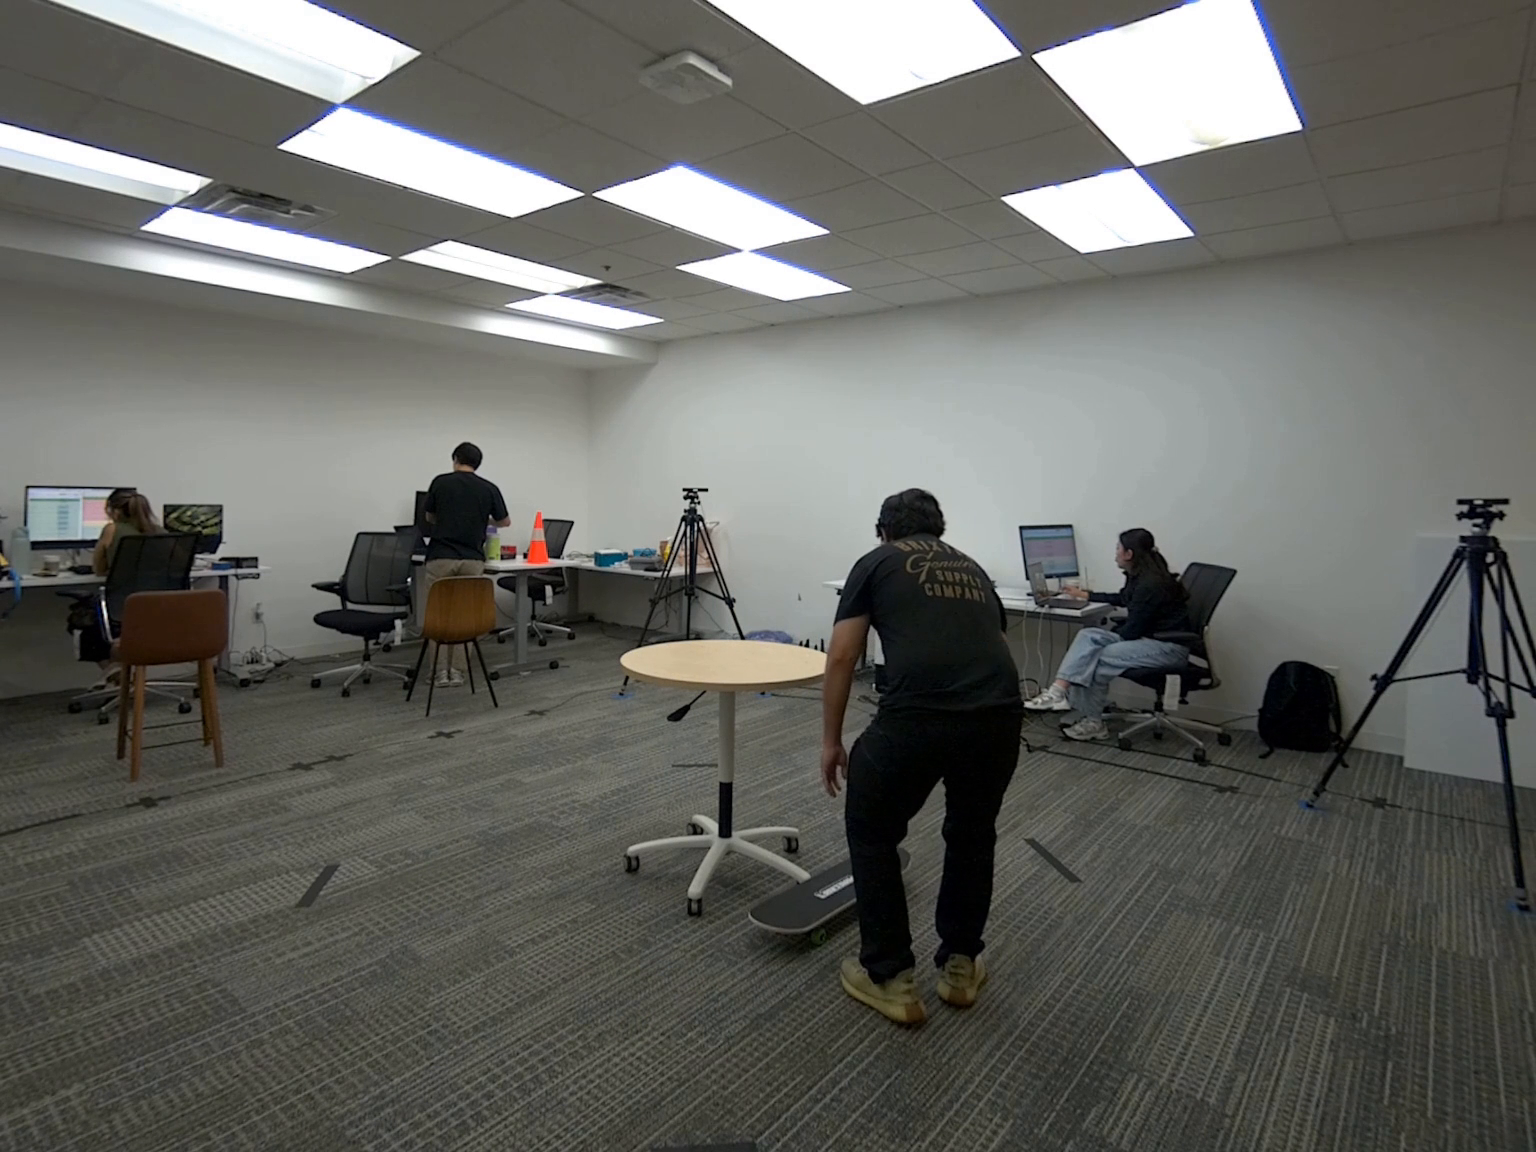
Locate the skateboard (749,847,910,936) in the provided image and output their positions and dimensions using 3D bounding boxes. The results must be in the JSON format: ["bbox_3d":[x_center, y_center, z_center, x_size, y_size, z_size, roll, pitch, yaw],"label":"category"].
[{"bbox_3d":[0.219,1.051,2.804,0.200,0.110,0.762,6,8,41],"label":"skateboard"}]
